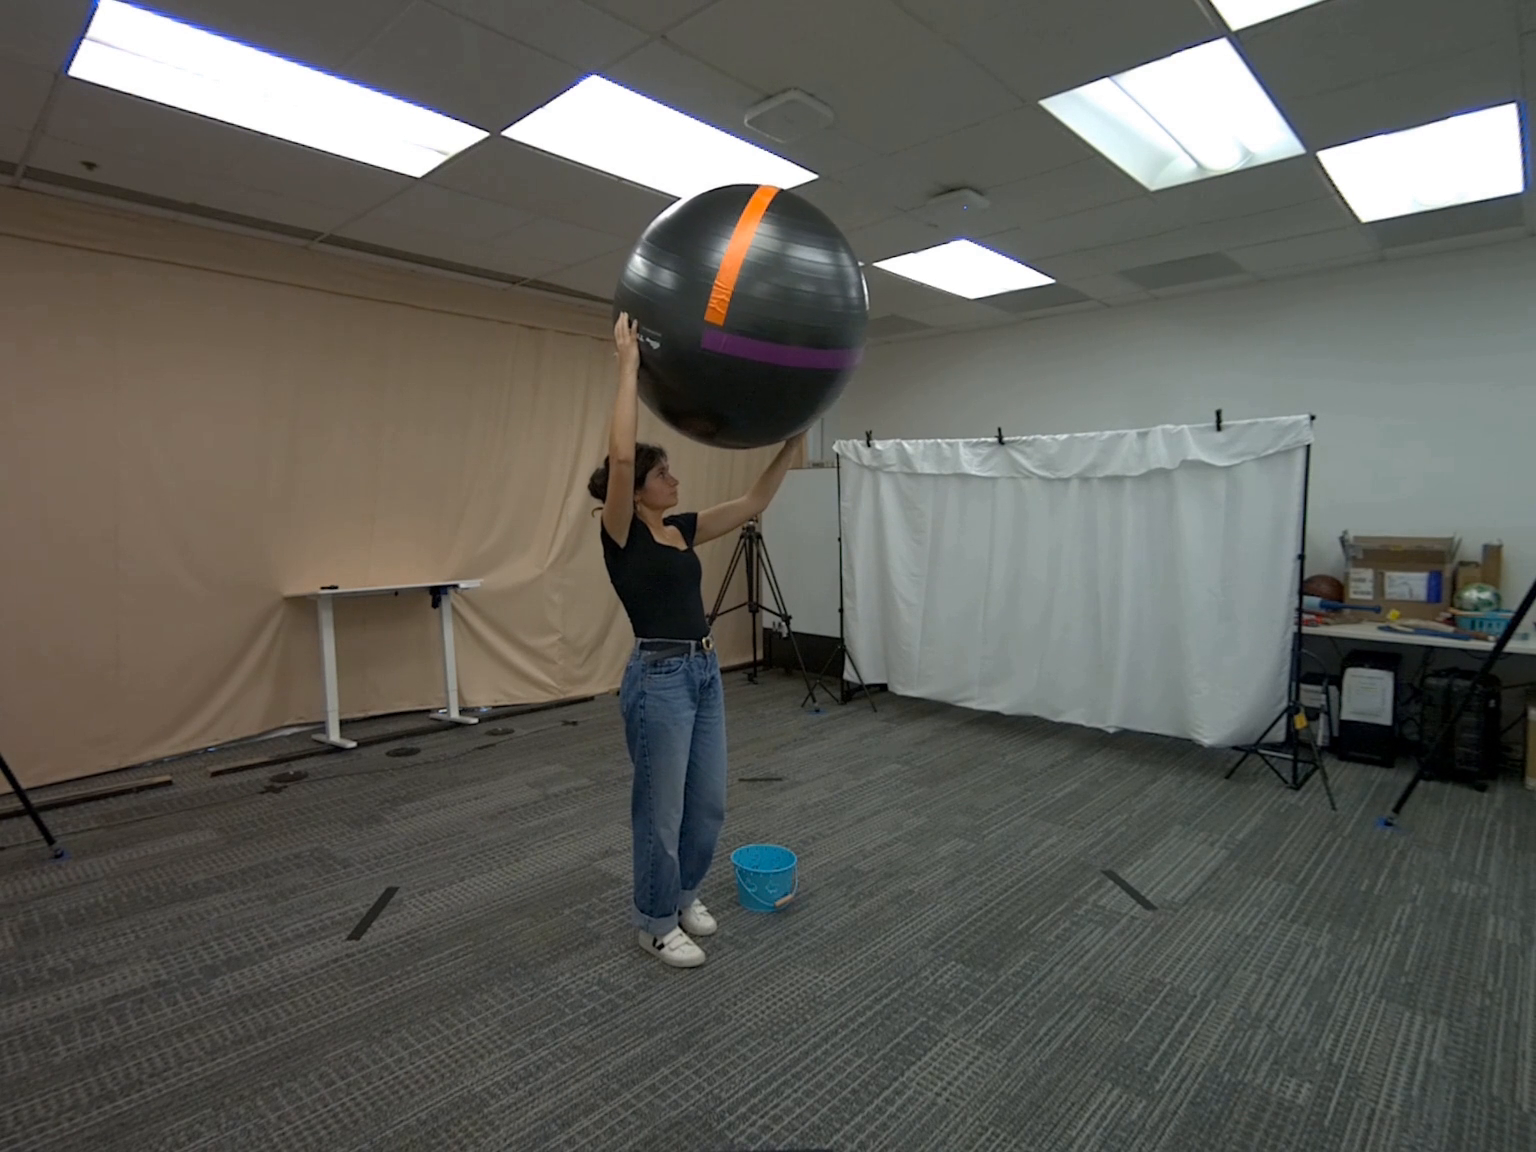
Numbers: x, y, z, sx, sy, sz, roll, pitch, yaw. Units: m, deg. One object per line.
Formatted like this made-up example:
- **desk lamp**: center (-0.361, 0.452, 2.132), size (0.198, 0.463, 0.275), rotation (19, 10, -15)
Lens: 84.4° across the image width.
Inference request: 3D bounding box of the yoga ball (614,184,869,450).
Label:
- **yoga ball**: center (-0.086, -0.762, 2.506), size (0.757, 0.756, 0.760), rotation (0, 4, -2)
